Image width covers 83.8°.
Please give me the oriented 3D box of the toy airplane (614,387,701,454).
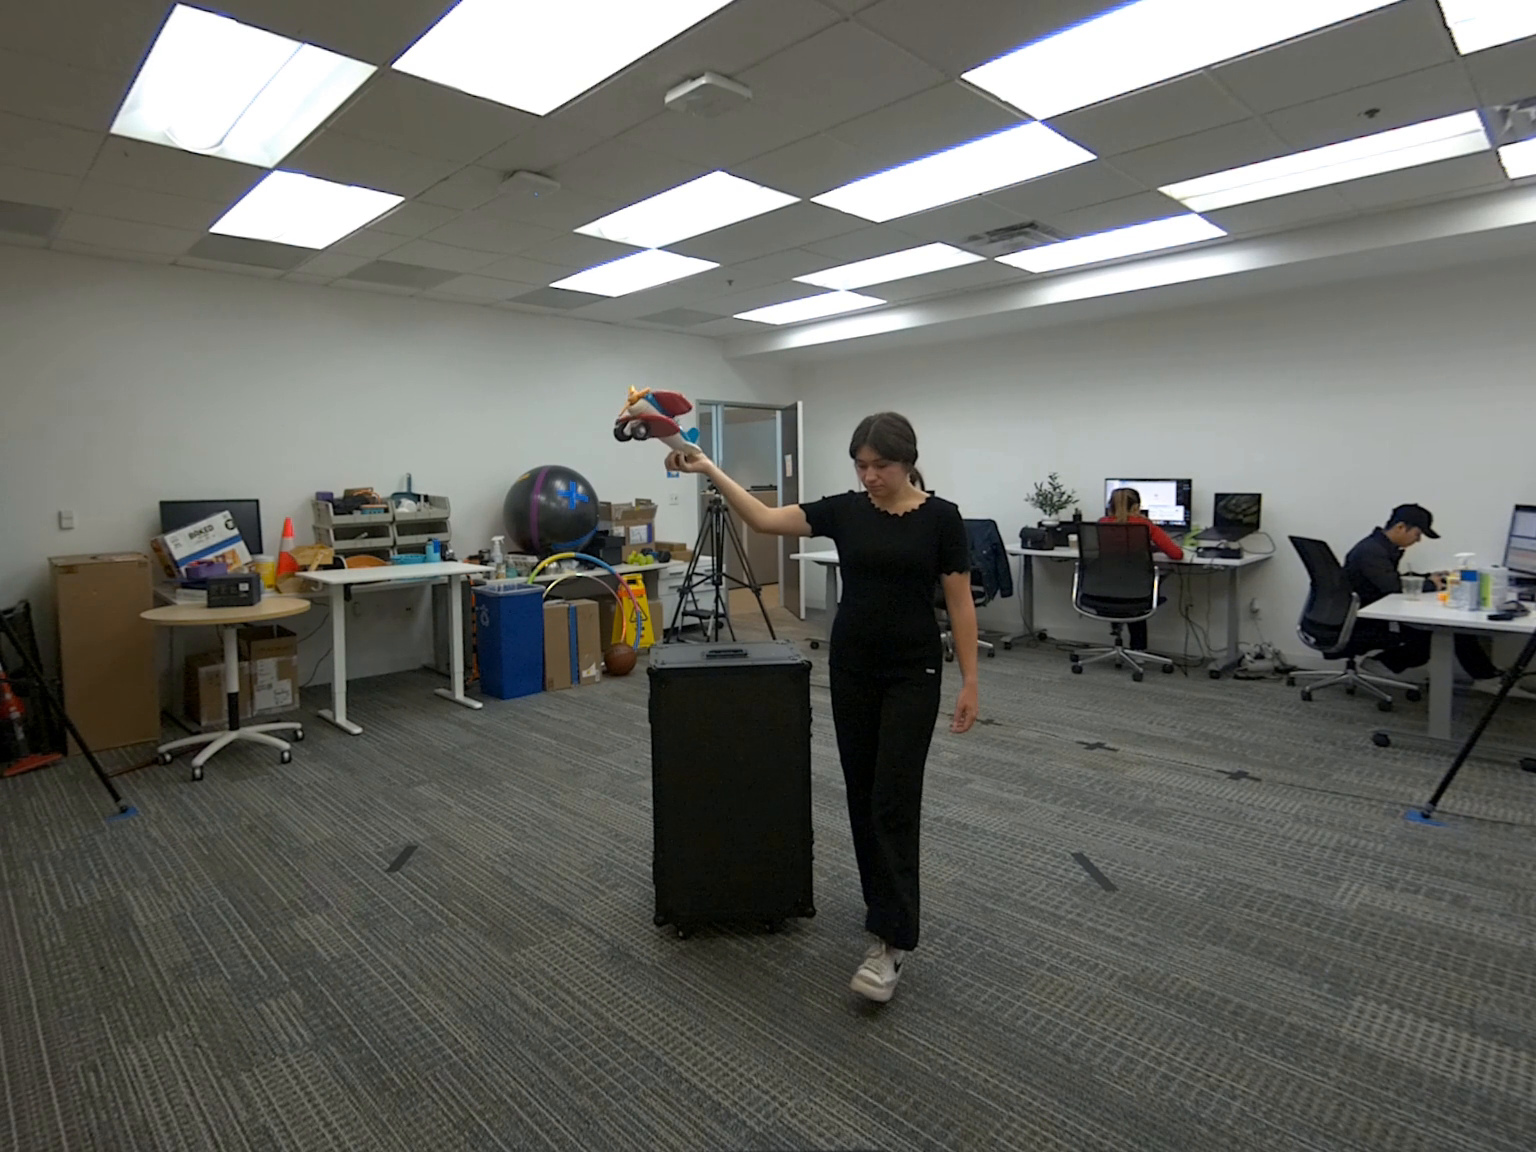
[{"bbox_3d":[-0.313,-0.428,2.428,0.257,0.157,0.252,15,-9,20],"label":"toy airplane"}]
